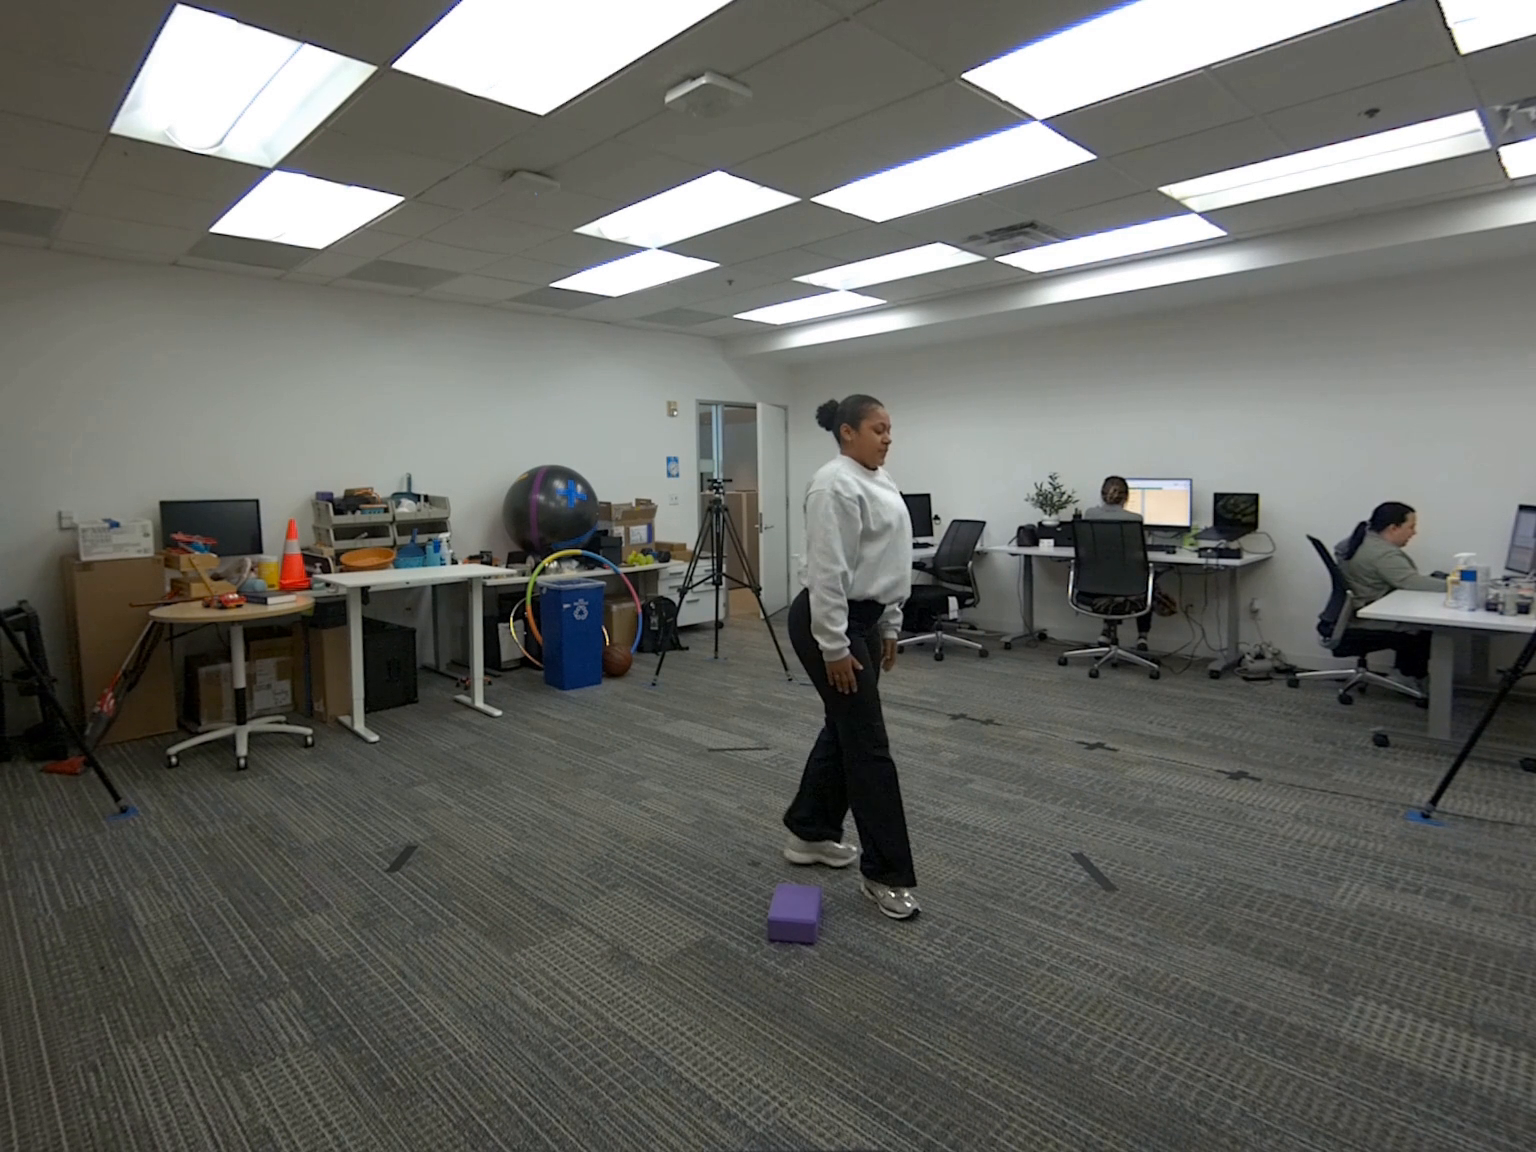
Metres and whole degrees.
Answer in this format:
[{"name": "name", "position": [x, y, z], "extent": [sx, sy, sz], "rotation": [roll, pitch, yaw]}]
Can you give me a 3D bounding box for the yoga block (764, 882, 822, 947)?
[{"name": "yoga block", "position": [0.091, 1.050, 2.676], "extent": [0.150, 0.076, 0.228], "rotation": [-1, 6, 10]}]
